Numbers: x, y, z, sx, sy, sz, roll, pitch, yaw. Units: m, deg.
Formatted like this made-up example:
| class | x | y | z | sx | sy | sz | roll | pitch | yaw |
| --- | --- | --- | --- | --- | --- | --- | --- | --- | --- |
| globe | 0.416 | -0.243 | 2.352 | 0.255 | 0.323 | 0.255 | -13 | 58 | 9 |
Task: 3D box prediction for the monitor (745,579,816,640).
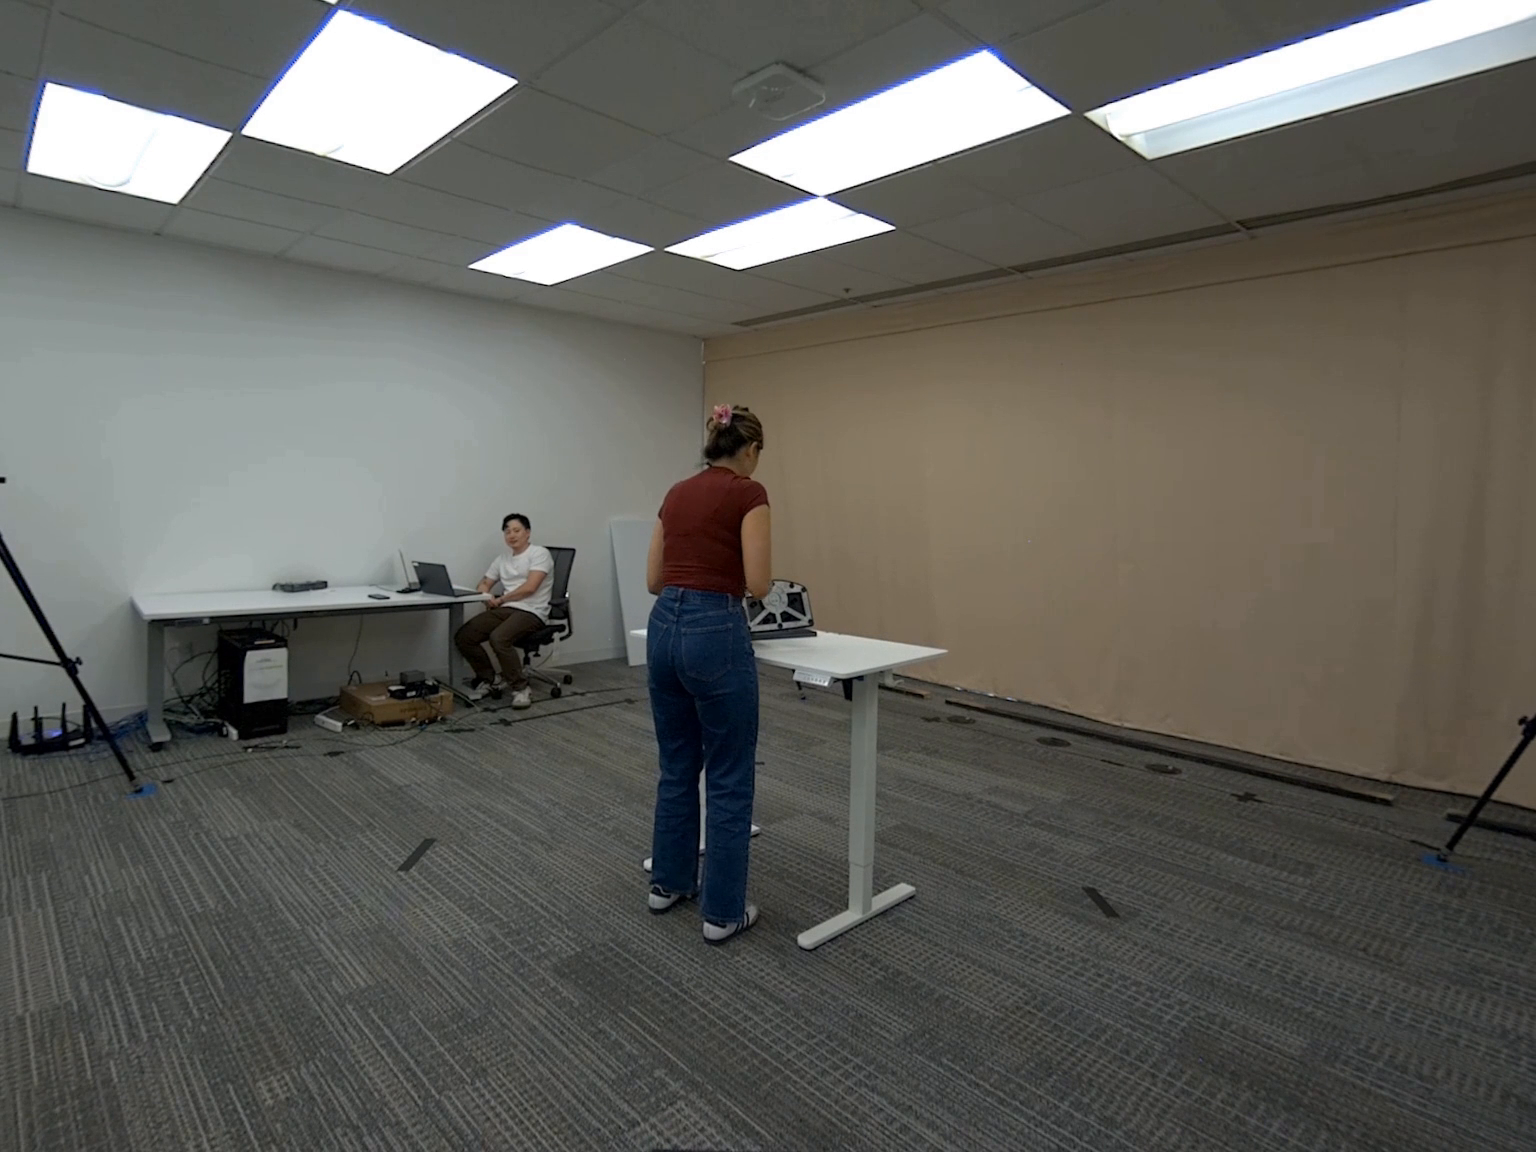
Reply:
| class | x | y | z | sx | sy | sz | roll | pitch | yaw |
| --- | --- | --- | --- | --- | --- | --- | --- | --- | --- |
| monitor | -0.095 | 0.156 | 3.095 | 0.529 | 0.189 | 0.527 | 0 | -12 | -27 |
